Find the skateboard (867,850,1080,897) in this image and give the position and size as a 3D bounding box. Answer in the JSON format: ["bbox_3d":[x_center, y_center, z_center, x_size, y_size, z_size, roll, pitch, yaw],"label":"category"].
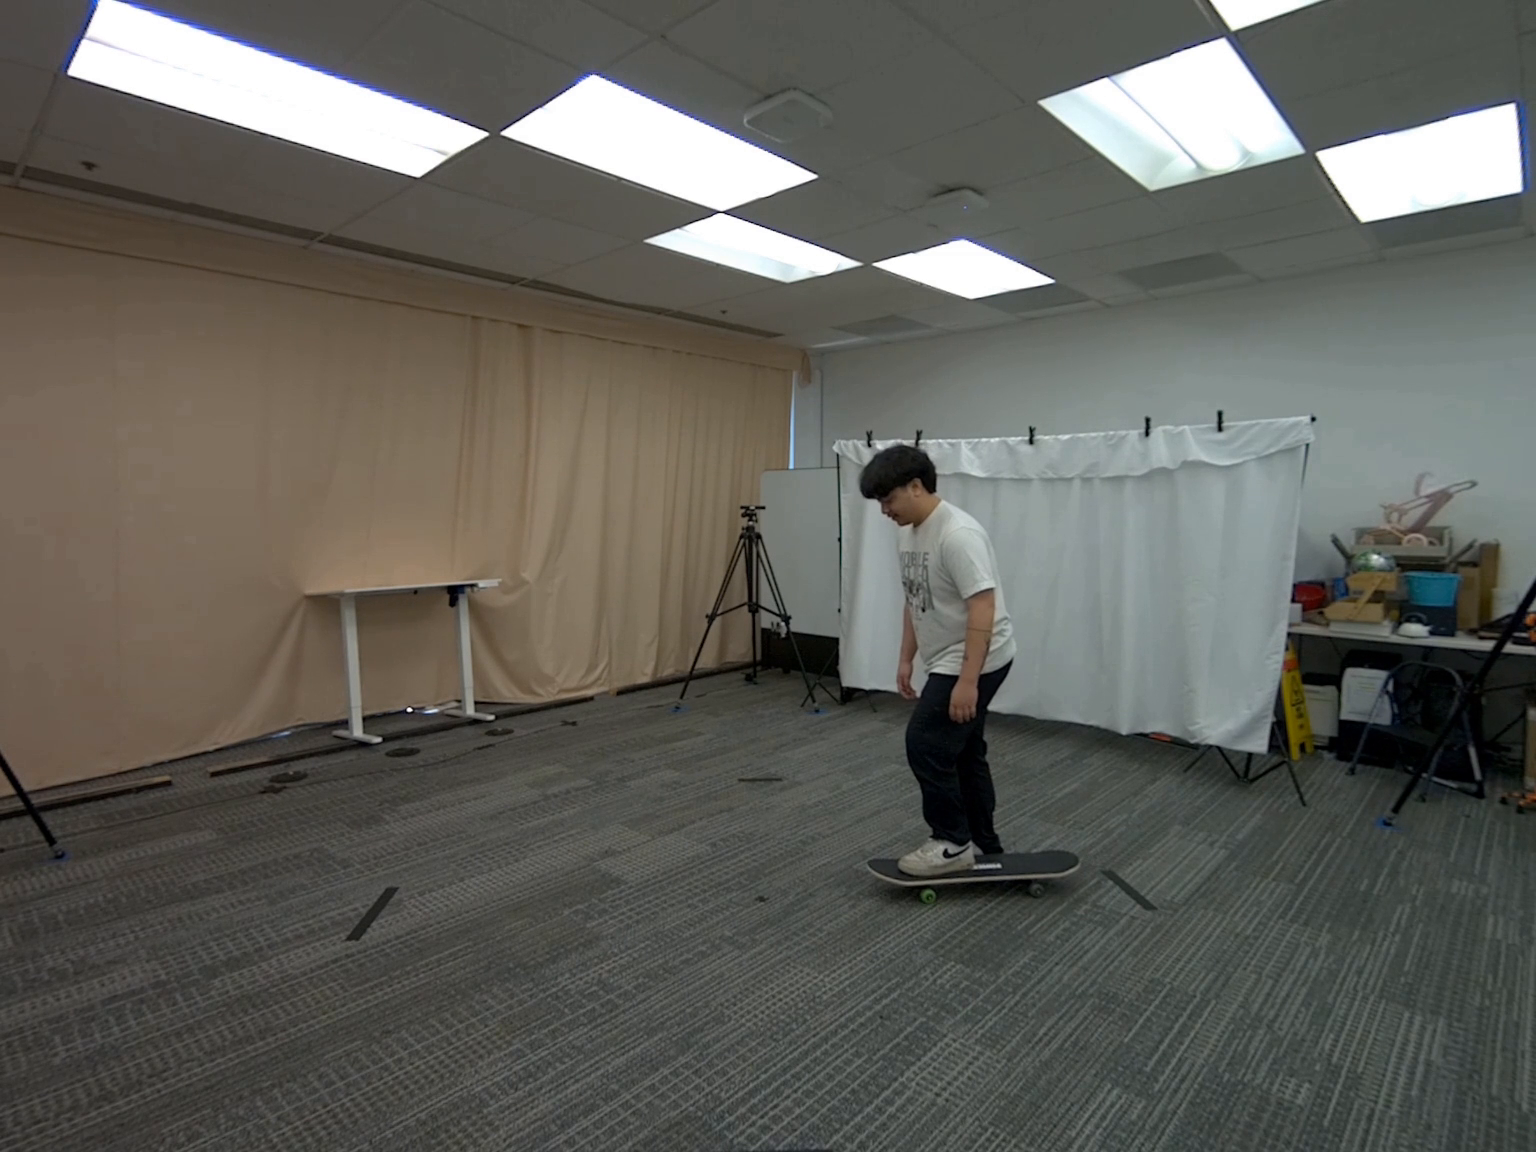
[{"bbox_3d":[0.750,1.080,3.044,0.780,0.110,0.195,-1,4,-7],"label":"skateboard"}]
